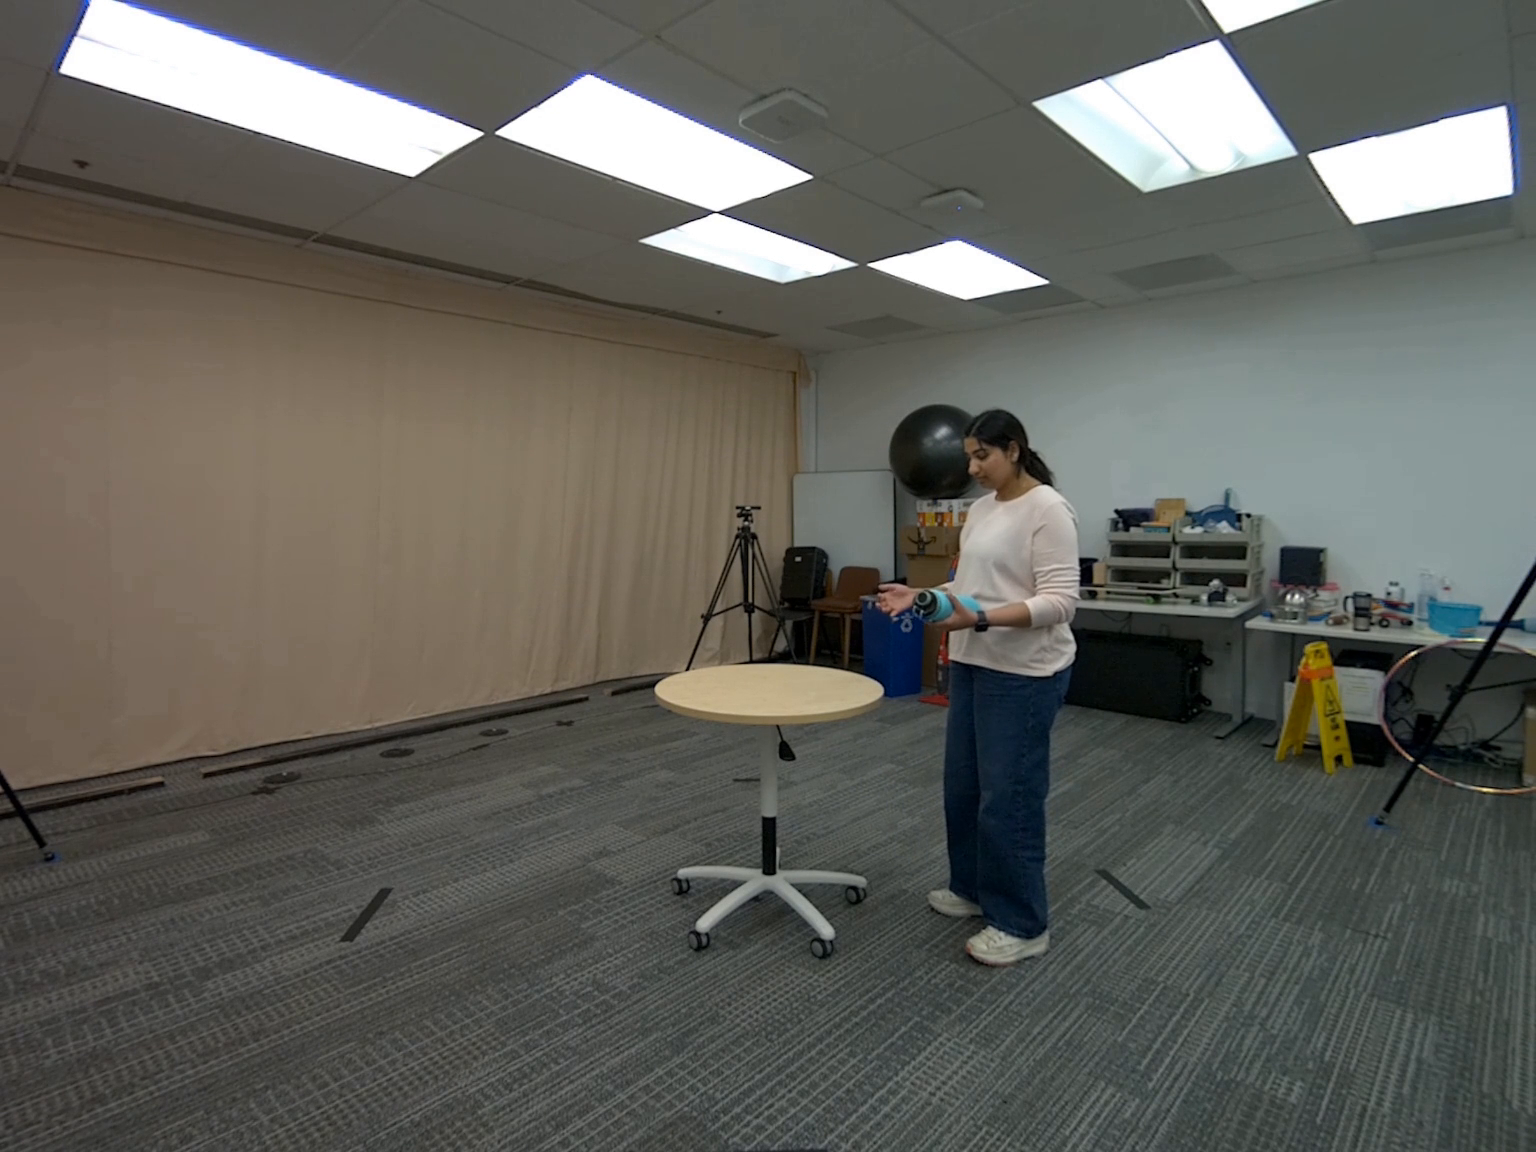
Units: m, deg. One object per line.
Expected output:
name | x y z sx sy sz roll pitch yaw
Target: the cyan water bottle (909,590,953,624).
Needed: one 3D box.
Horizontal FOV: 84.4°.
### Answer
cyan water bottle | 0.523 0.090 2.494 0.095 0.092 0.273 4 -5 44
